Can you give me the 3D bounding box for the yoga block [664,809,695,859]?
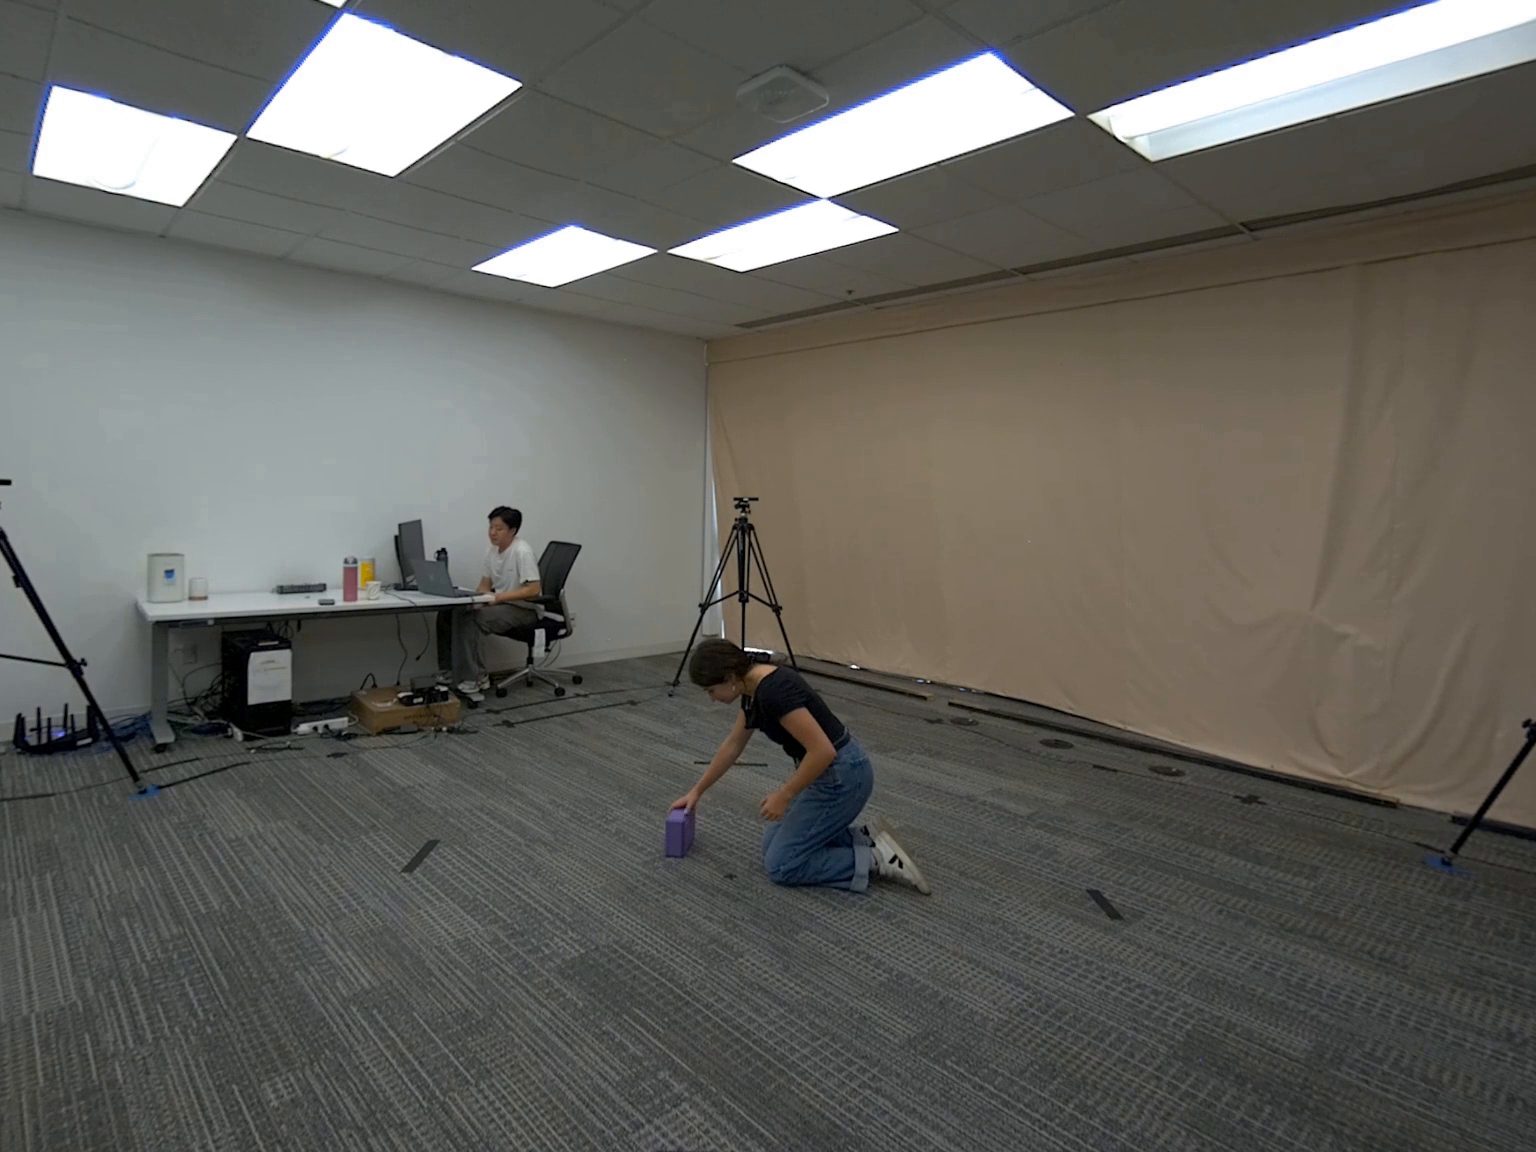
[{"bbox_3d":[-0.350,0.998,3.355,0.077,0.148,0.229,0,7,6],"label":"yoga block"}]
